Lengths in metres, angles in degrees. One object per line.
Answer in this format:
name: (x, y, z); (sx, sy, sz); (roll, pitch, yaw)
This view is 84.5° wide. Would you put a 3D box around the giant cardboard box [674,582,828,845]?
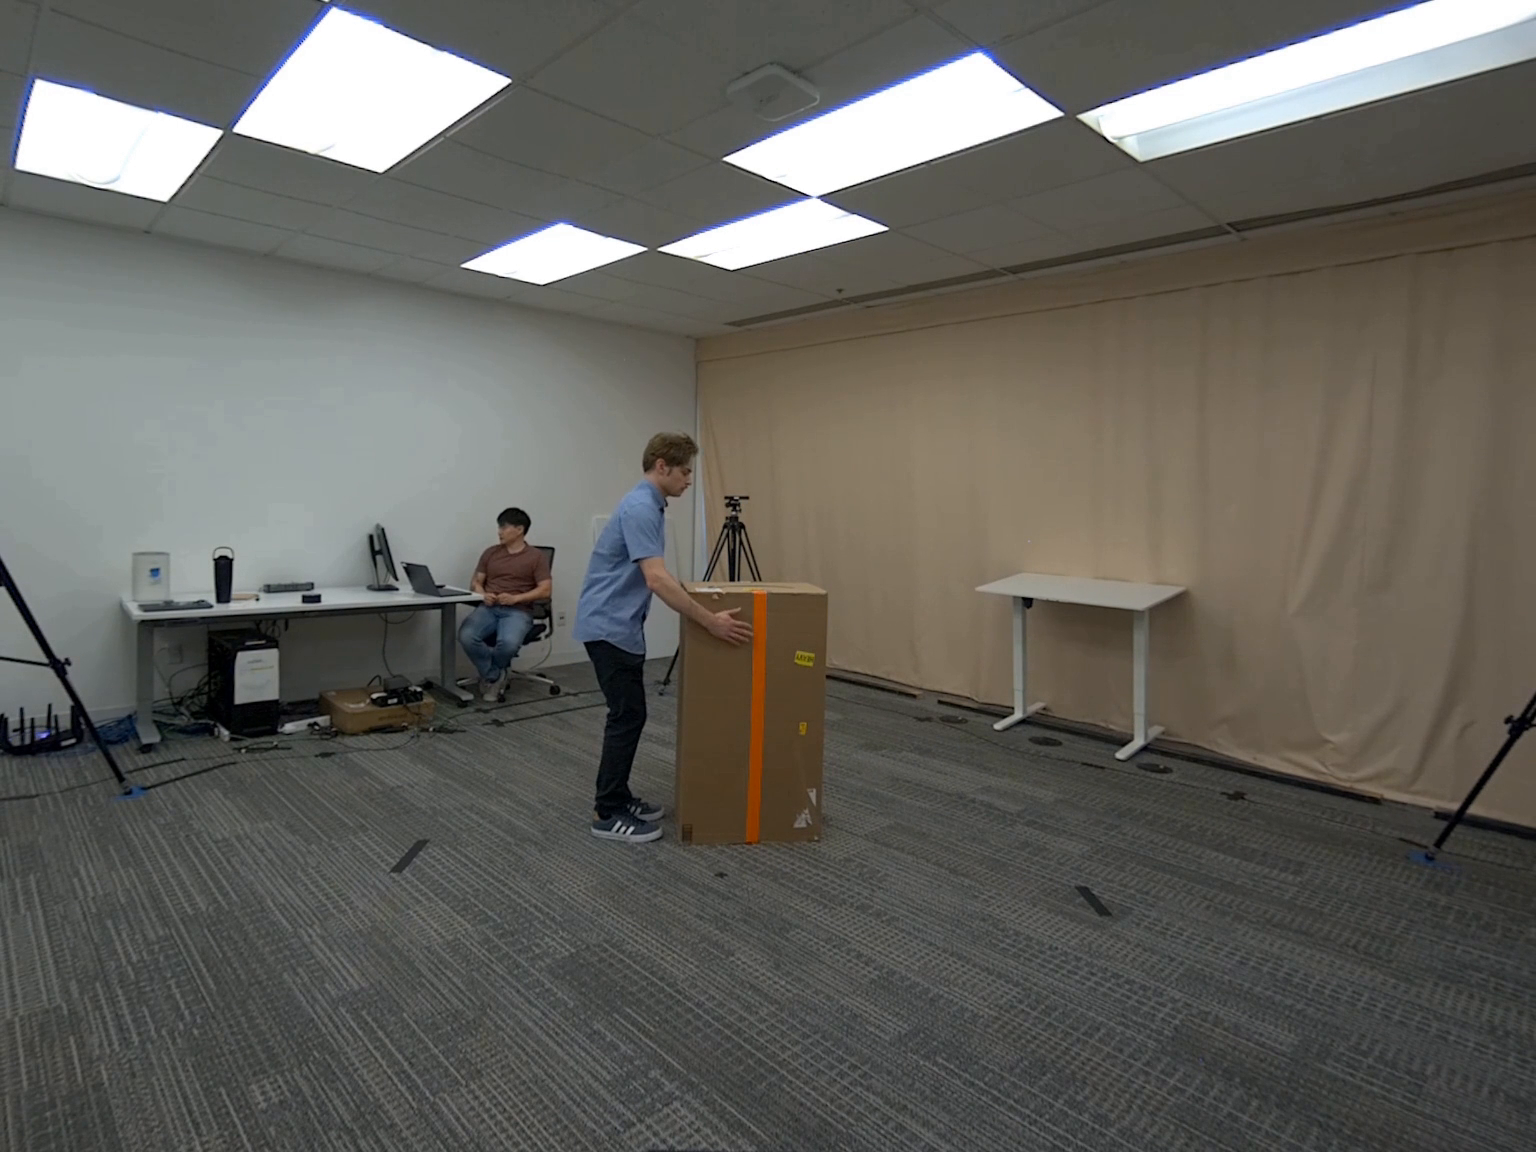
giant cardboard box: (-0.091, 0.552, 3.582); (0.581, 1.025, 0.450); (1, 3, -7)
